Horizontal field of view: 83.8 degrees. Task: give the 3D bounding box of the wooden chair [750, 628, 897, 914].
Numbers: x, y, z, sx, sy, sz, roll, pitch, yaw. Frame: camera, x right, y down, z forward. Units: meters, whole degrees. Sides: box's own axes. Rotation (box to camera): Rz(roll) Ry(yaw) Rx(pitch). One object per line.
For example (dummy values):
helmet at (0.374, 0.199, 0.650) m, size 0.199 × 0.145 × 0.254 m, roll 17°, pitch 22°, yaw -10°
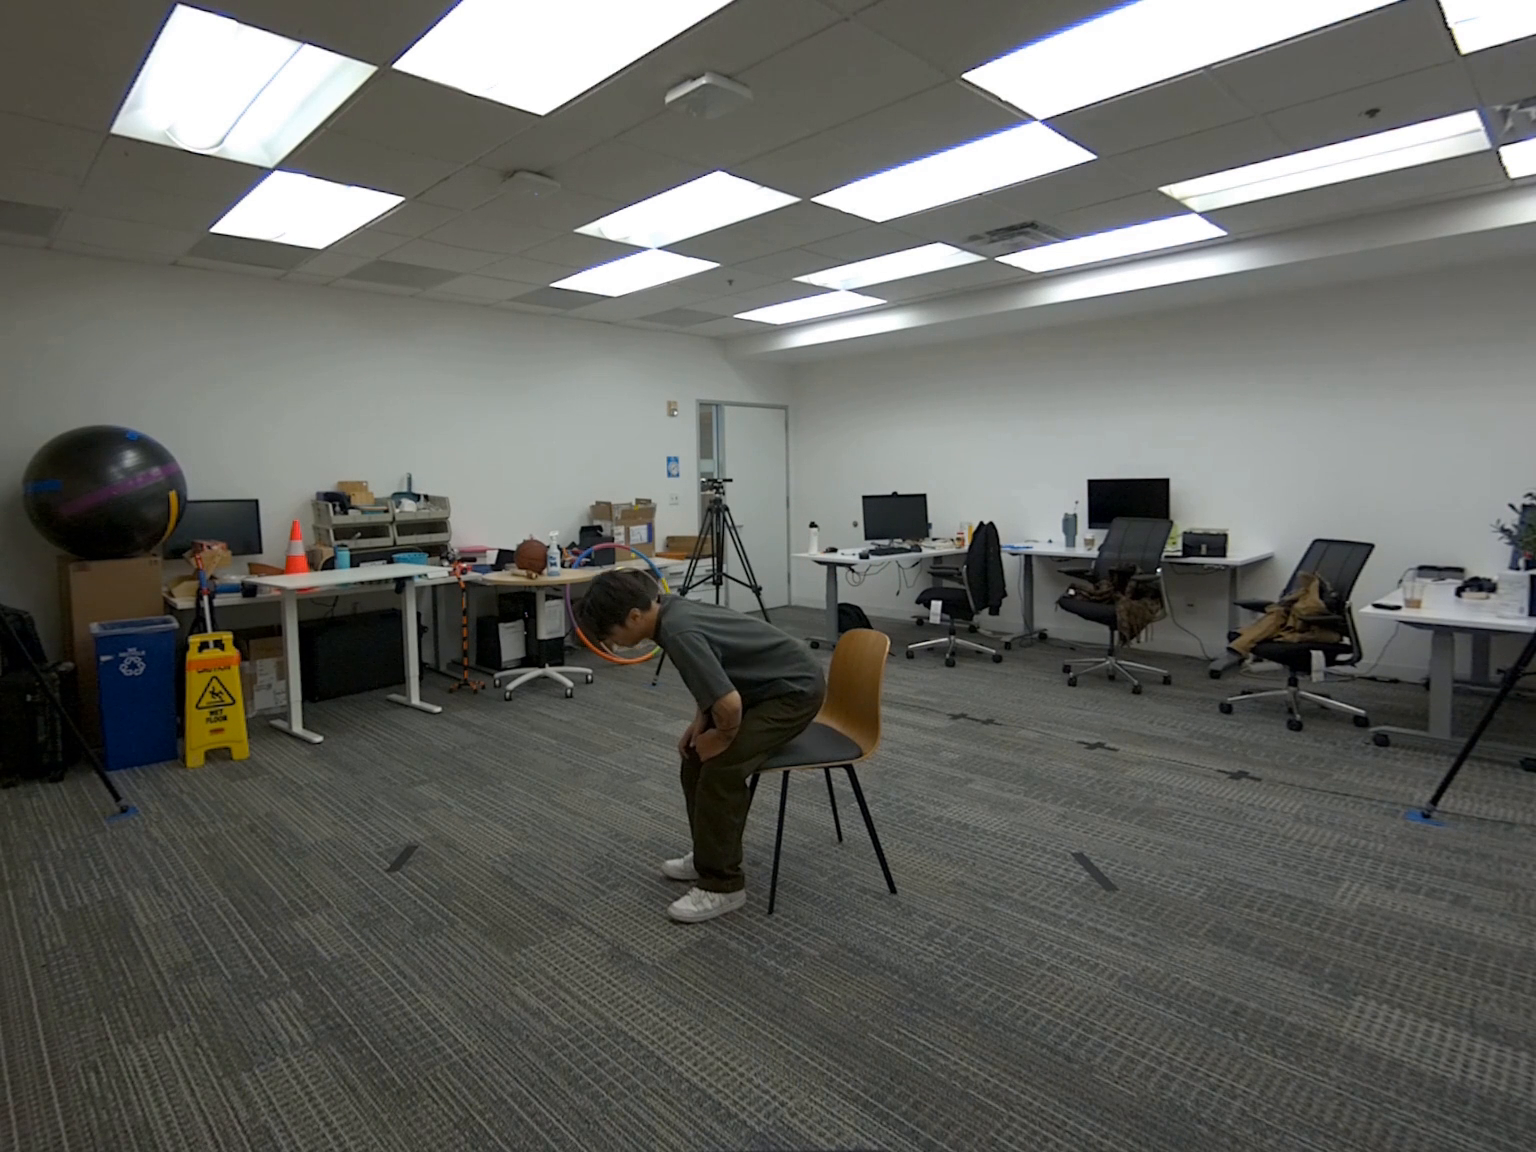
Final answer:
wooden chair at (0.131, 0.627, 2.979) m, size 0.514 × 0.875 × 0.487 m, roll 1°, pitch 4°, yaw -18°
